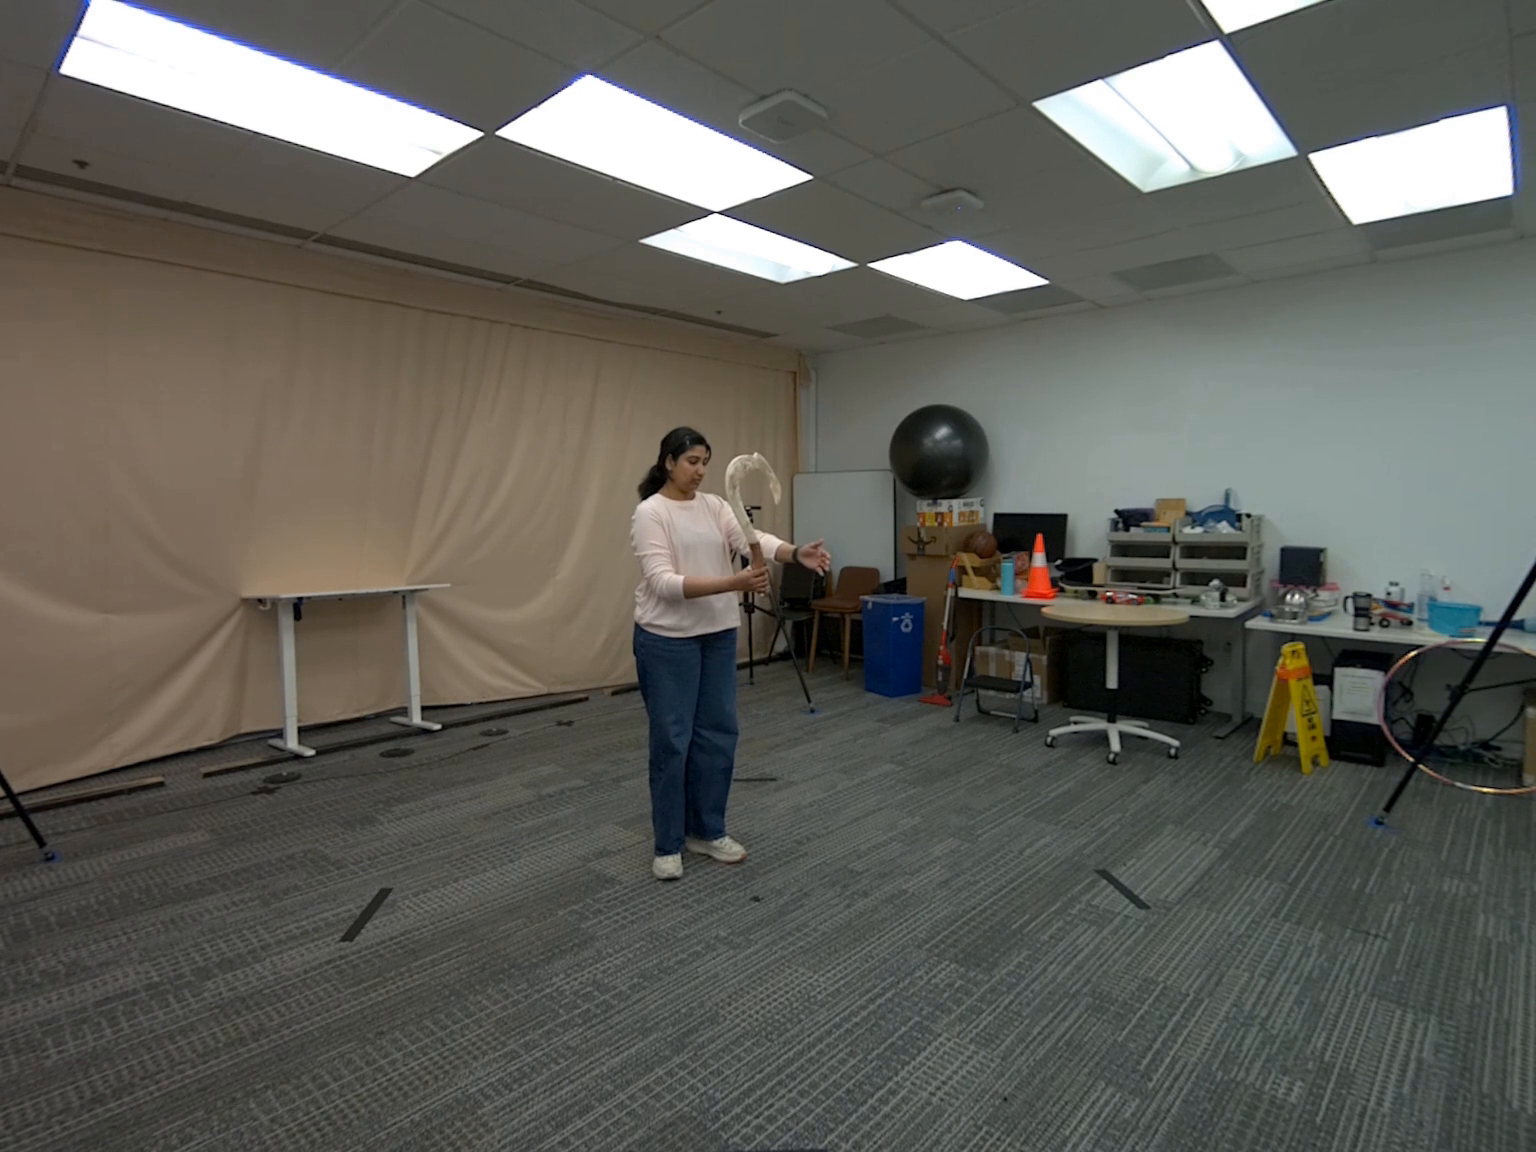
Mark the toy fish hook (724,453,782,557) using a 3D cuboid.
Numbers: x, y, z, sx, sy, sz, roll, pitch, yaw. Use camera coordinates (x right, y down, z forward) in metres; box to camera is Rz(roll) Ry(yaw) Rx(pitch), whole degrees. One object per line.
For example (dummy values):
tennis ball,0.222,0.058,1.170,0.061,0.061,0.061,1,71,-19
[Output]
toy fish hook,-0.015,-0.178,2.993,0.220,0.505,0.049,-13,5,-26
